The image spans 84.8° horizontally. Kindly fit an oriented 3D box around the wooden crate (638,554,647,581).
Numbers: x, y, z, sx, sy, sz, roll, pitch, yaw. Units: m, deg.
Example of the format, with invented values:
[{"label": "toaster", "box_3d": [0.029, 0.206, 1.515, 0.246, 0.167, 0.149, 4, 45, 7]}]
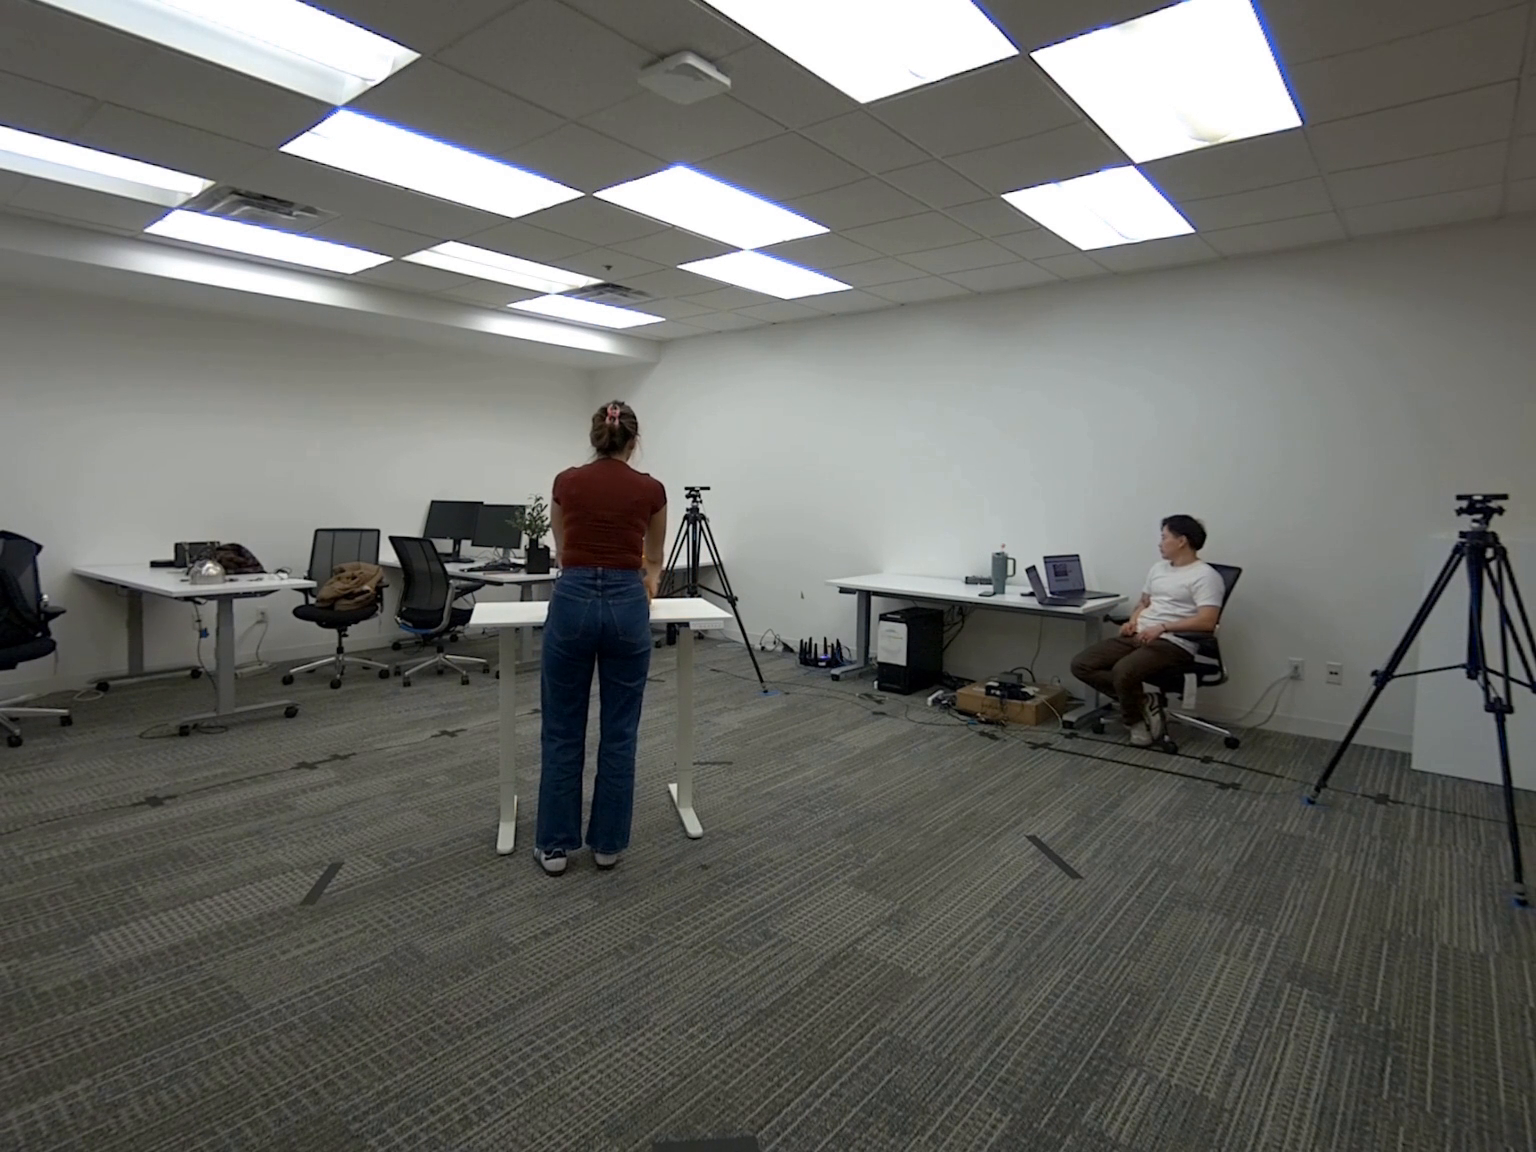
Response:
[{"label": "wooden crate", "box_3d": [-0.668, -0.003, 3.612, 0.322, 0.273, 0.305, 0, 3, -9]}]
